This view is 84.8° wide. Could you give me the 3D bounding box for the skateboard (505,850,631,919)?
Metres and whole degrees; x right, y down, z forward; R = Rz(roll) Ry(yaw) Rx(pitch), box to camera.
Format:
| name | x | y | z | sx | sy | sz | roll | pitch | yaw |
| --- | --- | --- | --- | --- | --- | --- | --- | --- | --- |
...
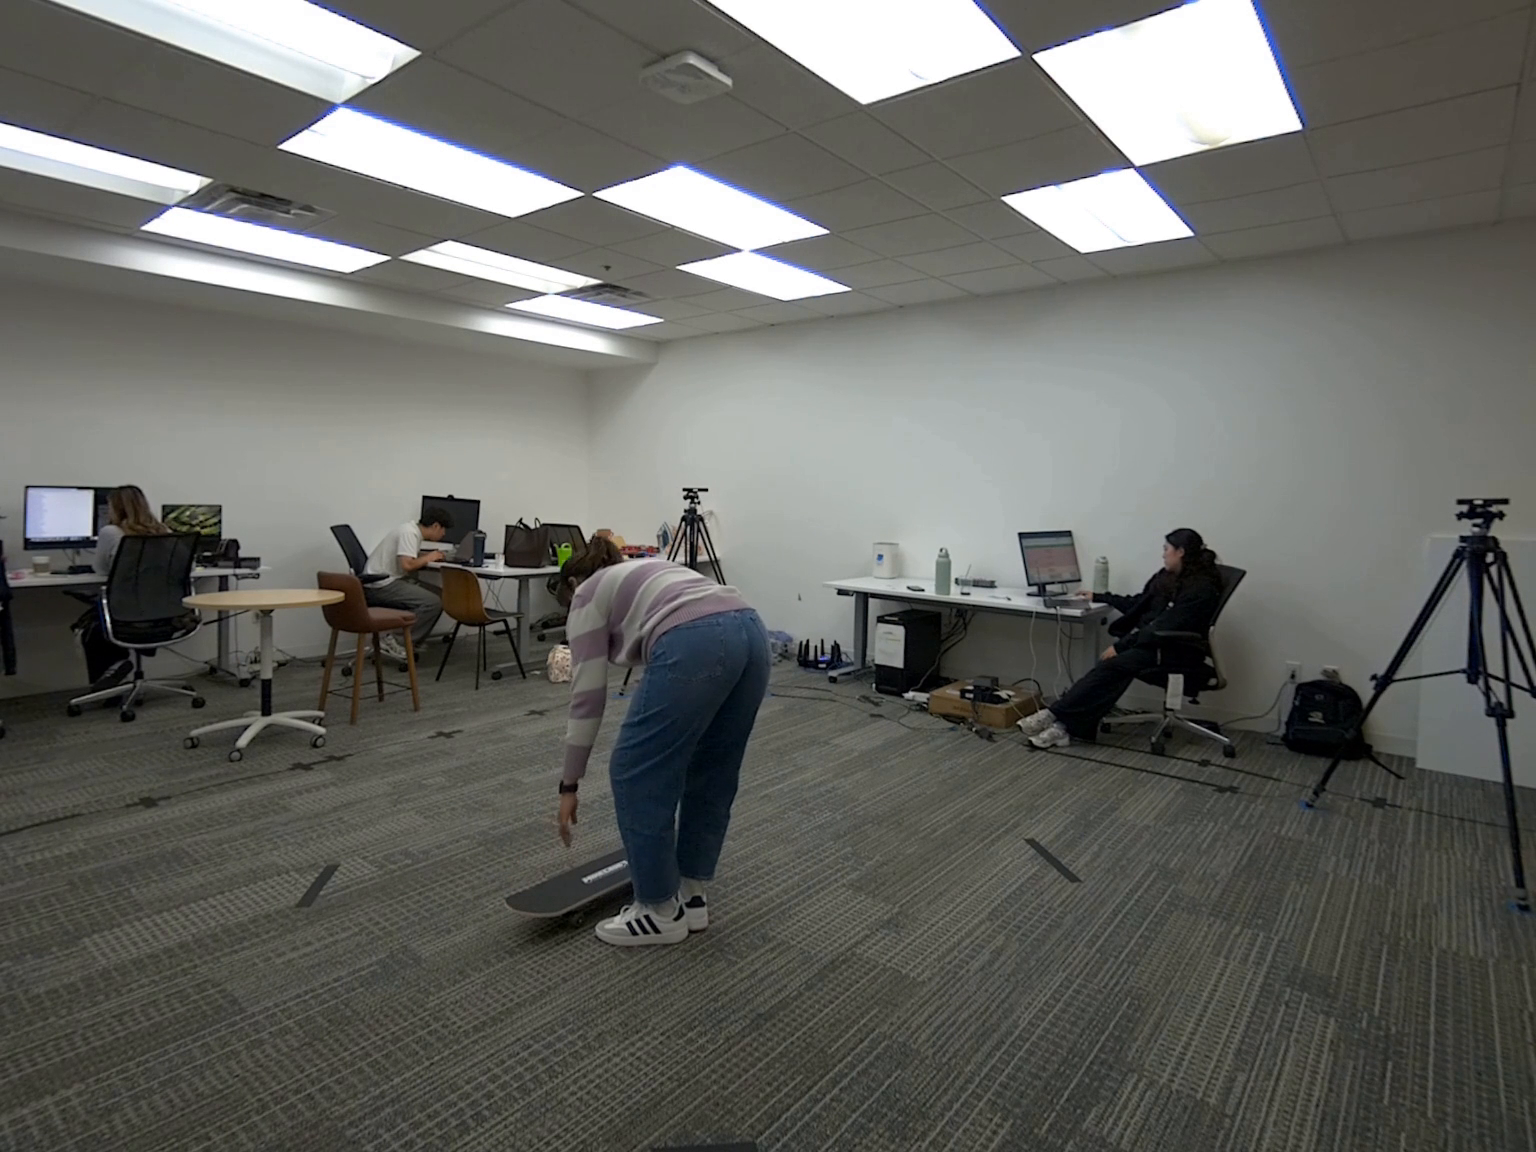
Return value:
| name | x | y | z | sx | sy | sz | roll | pitch | yaw |
| --- | --- | --- | --- | --- | --- | --- | --- | --- | --- |
| skateboard | -0.553 | 1.031 | 2.880 | 0.200 | 0.110 | 0.763 | 5 | 7 | 38 |
